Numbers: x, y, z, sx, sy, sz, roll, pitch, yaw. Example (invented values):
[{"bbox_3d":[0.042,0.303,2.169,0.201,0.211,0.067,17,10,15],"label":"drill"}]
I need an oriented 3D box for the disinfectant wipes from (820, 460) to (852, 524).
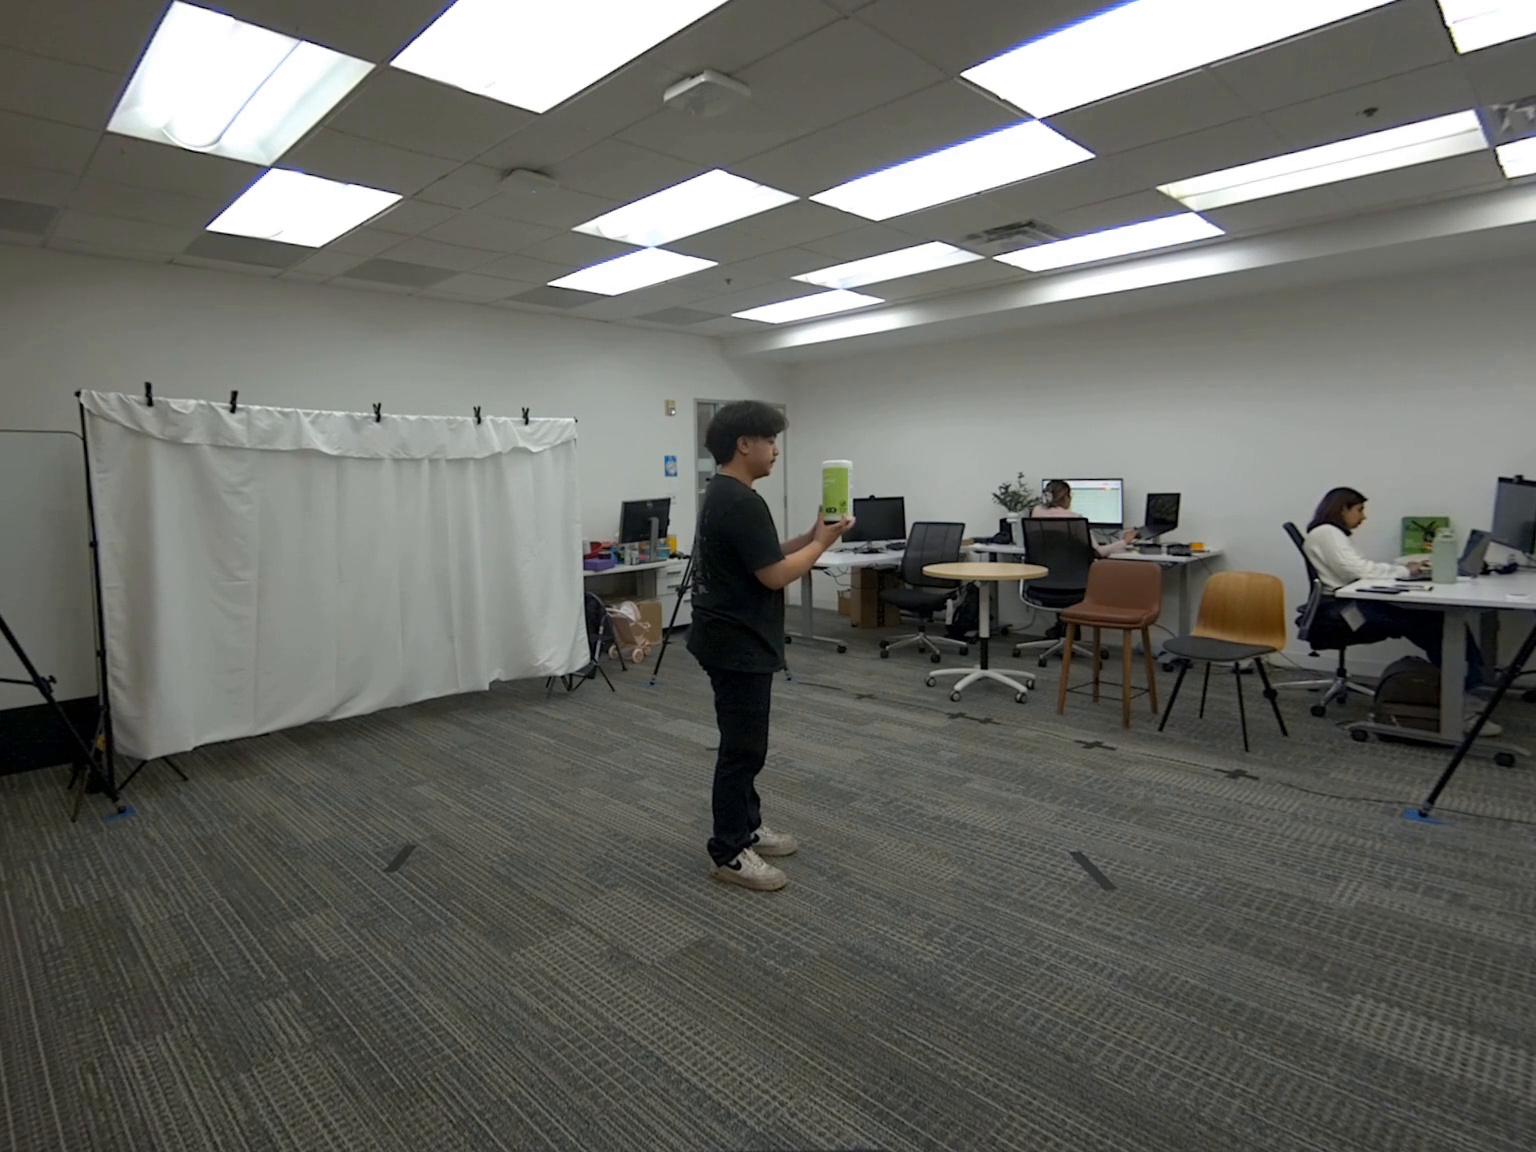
[{"bbox_3d":[0.245,-0.300,3.043,0.118,0.217,0.118,0,0,-2],"label":"disinfectant wipes"}]
